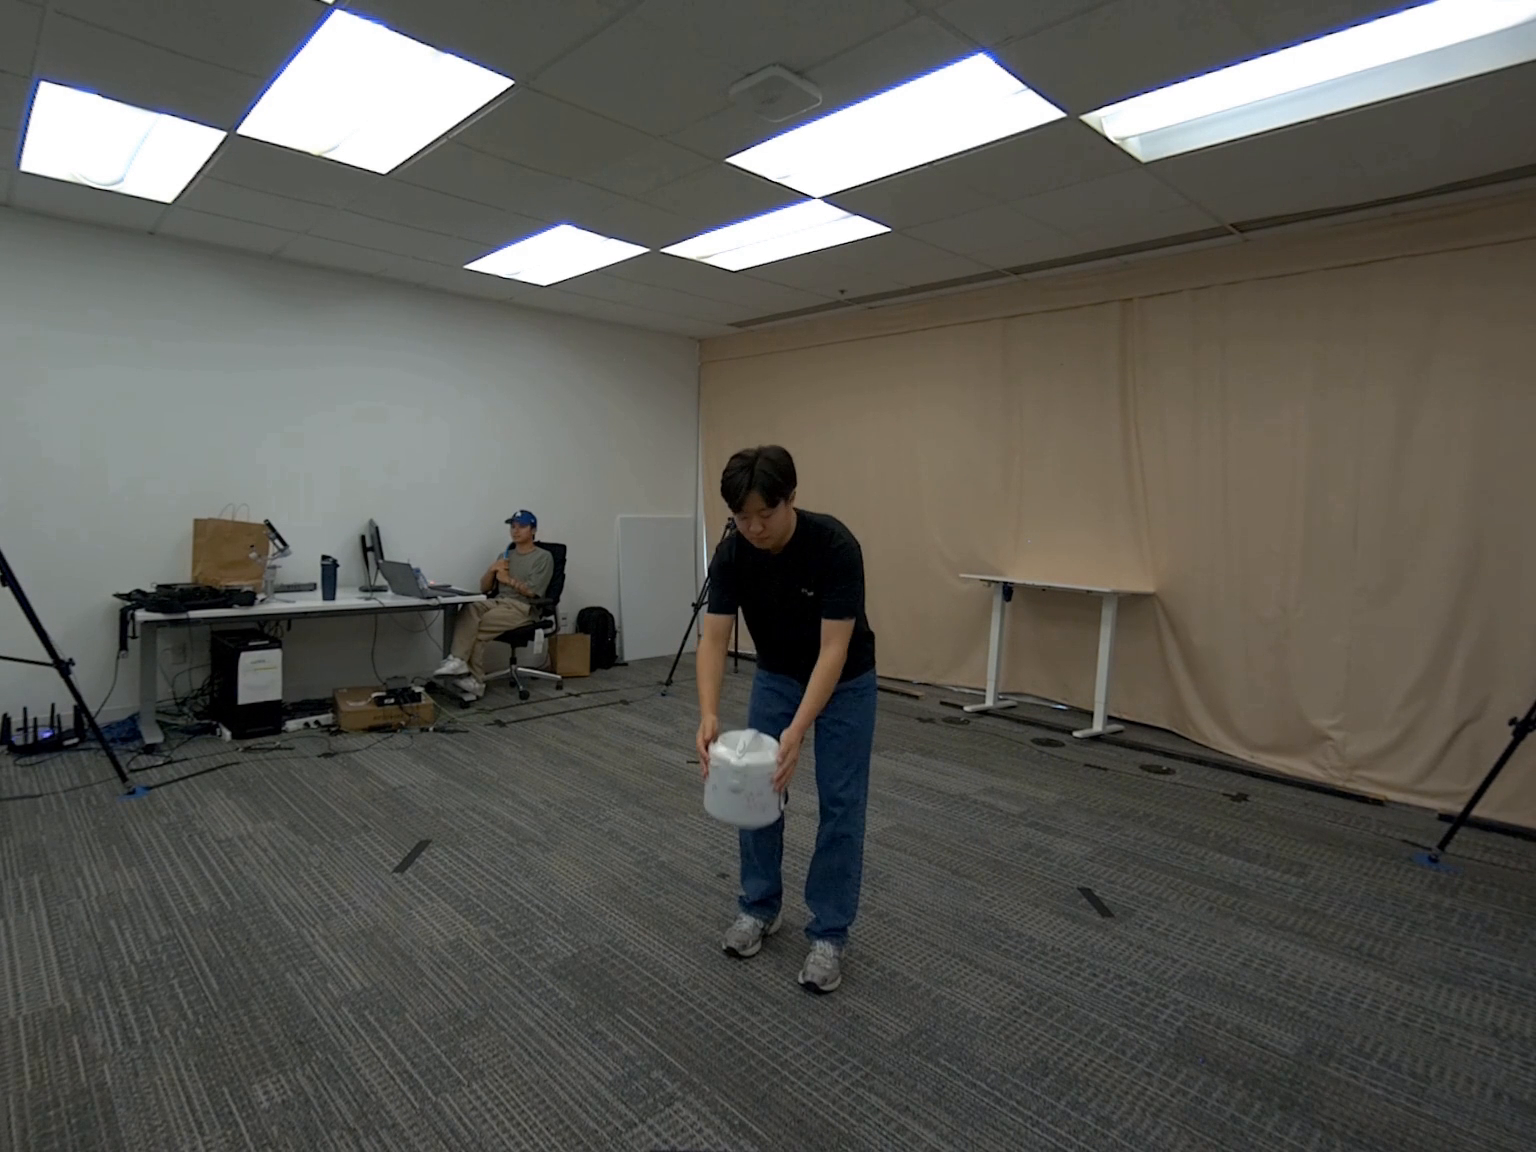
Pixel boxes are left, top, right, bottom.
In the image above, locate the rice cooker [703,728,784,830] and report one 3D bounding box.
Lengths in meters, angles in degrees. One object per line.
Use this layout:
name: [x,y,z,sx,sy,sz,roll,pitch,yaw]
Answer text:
rice cooker: [-0.061,0.528,2.233,0.220,0.231,0.219,7,9,16]
